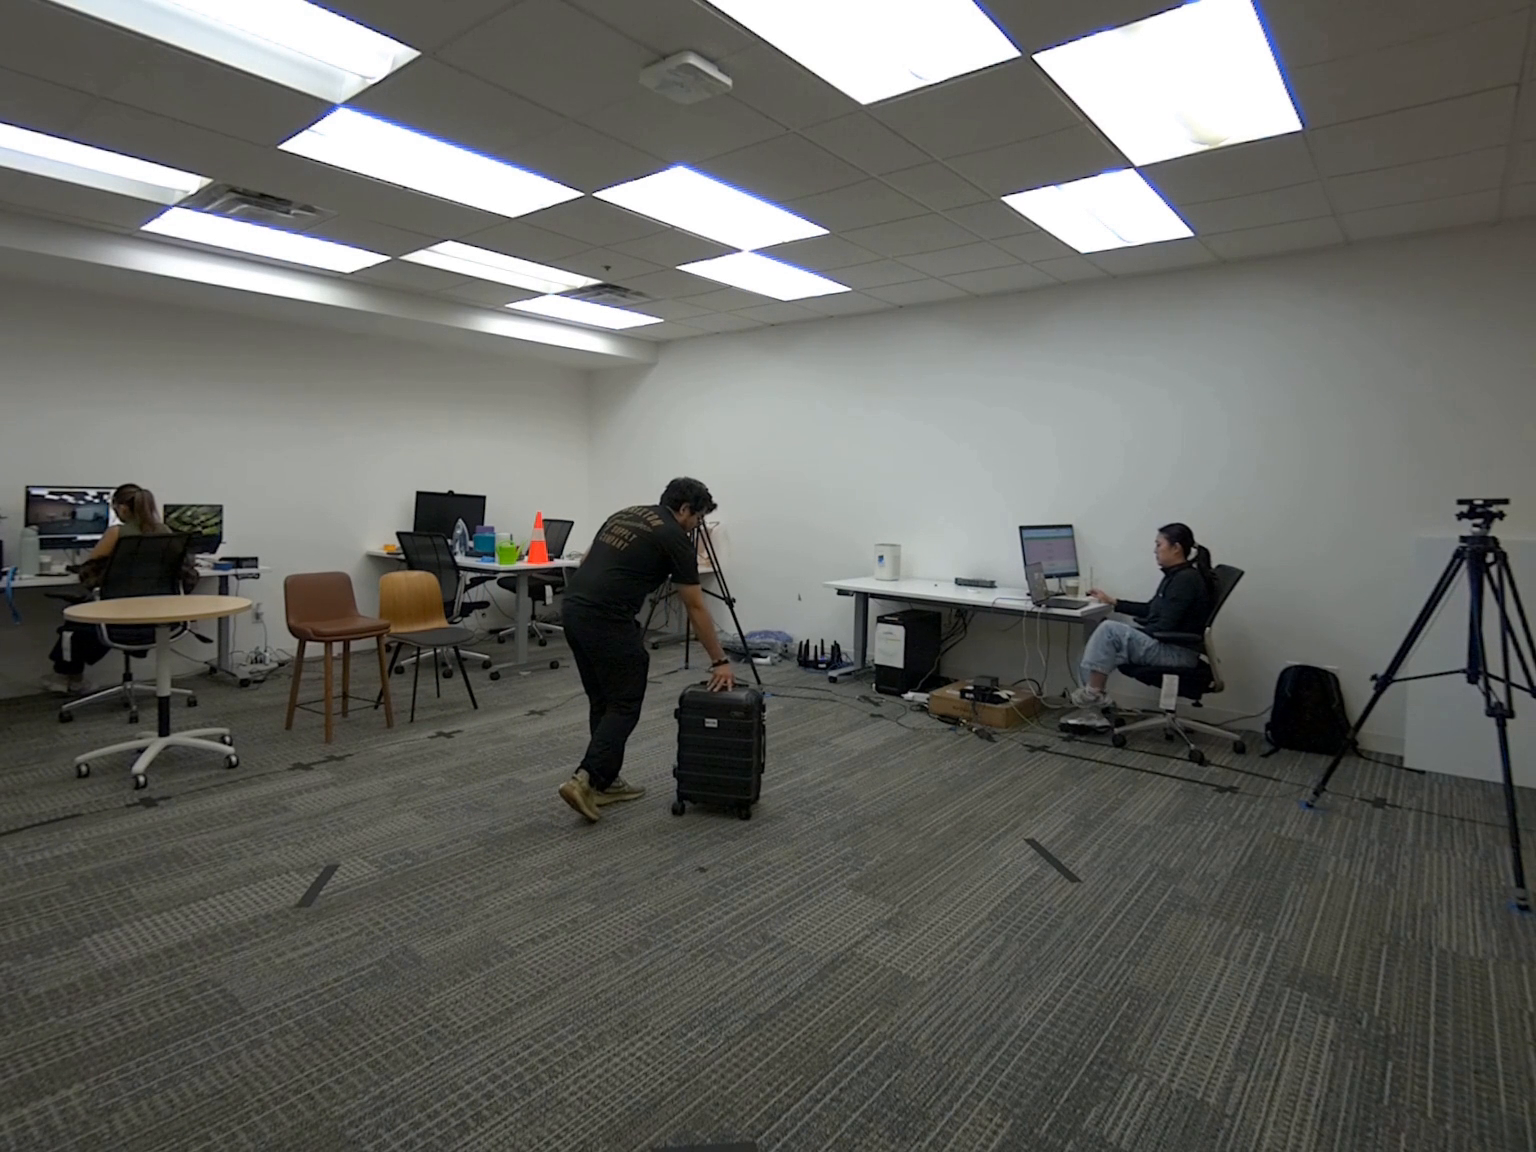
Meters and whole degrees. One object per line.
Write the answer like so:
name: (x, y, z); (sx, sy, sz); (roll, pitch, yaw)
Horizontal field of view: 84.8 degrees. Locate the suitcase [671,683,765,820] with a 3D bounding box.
suitcase: (-0.218, 0.738, 3.699); (0.381, 0.547, 0.245); (3, 4, 13)
